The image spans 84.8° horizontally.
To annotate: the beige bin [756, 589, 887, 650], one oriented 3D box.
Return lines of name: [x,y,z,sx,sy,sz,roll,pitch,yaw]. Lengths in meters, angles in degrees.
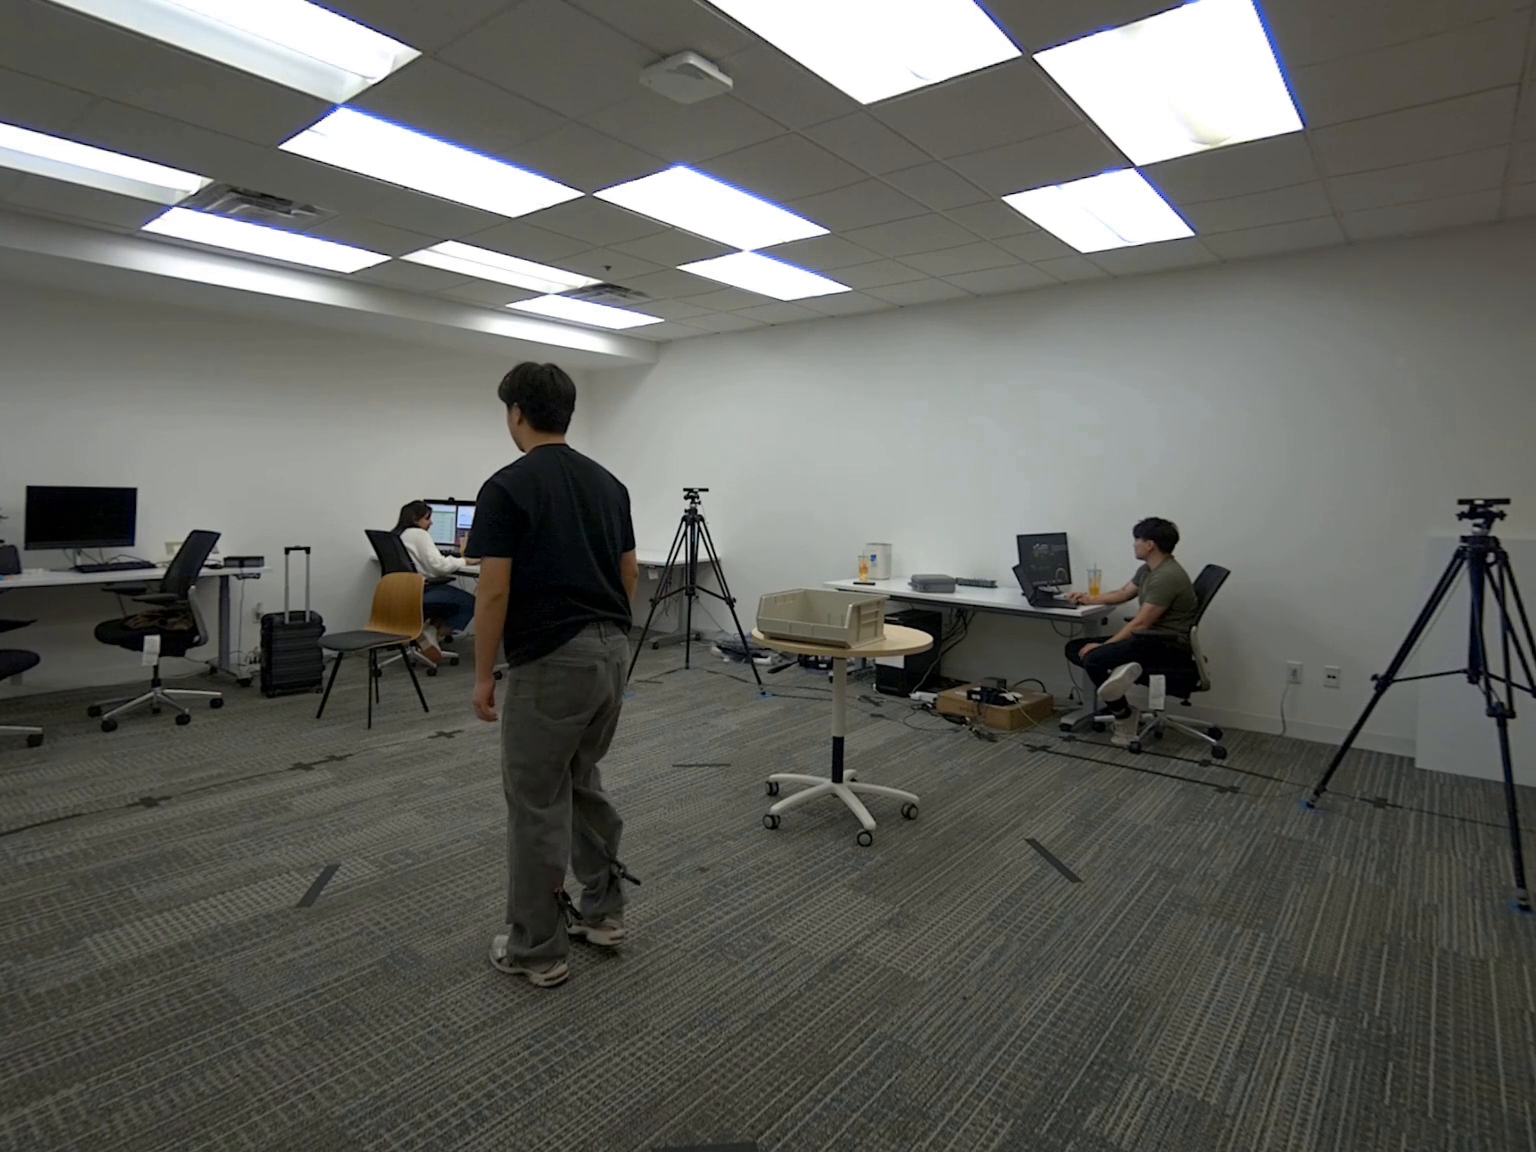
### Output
beige bin: [0.221,0.170,3.504,0.435,0.188,0.367,4,5,34]
